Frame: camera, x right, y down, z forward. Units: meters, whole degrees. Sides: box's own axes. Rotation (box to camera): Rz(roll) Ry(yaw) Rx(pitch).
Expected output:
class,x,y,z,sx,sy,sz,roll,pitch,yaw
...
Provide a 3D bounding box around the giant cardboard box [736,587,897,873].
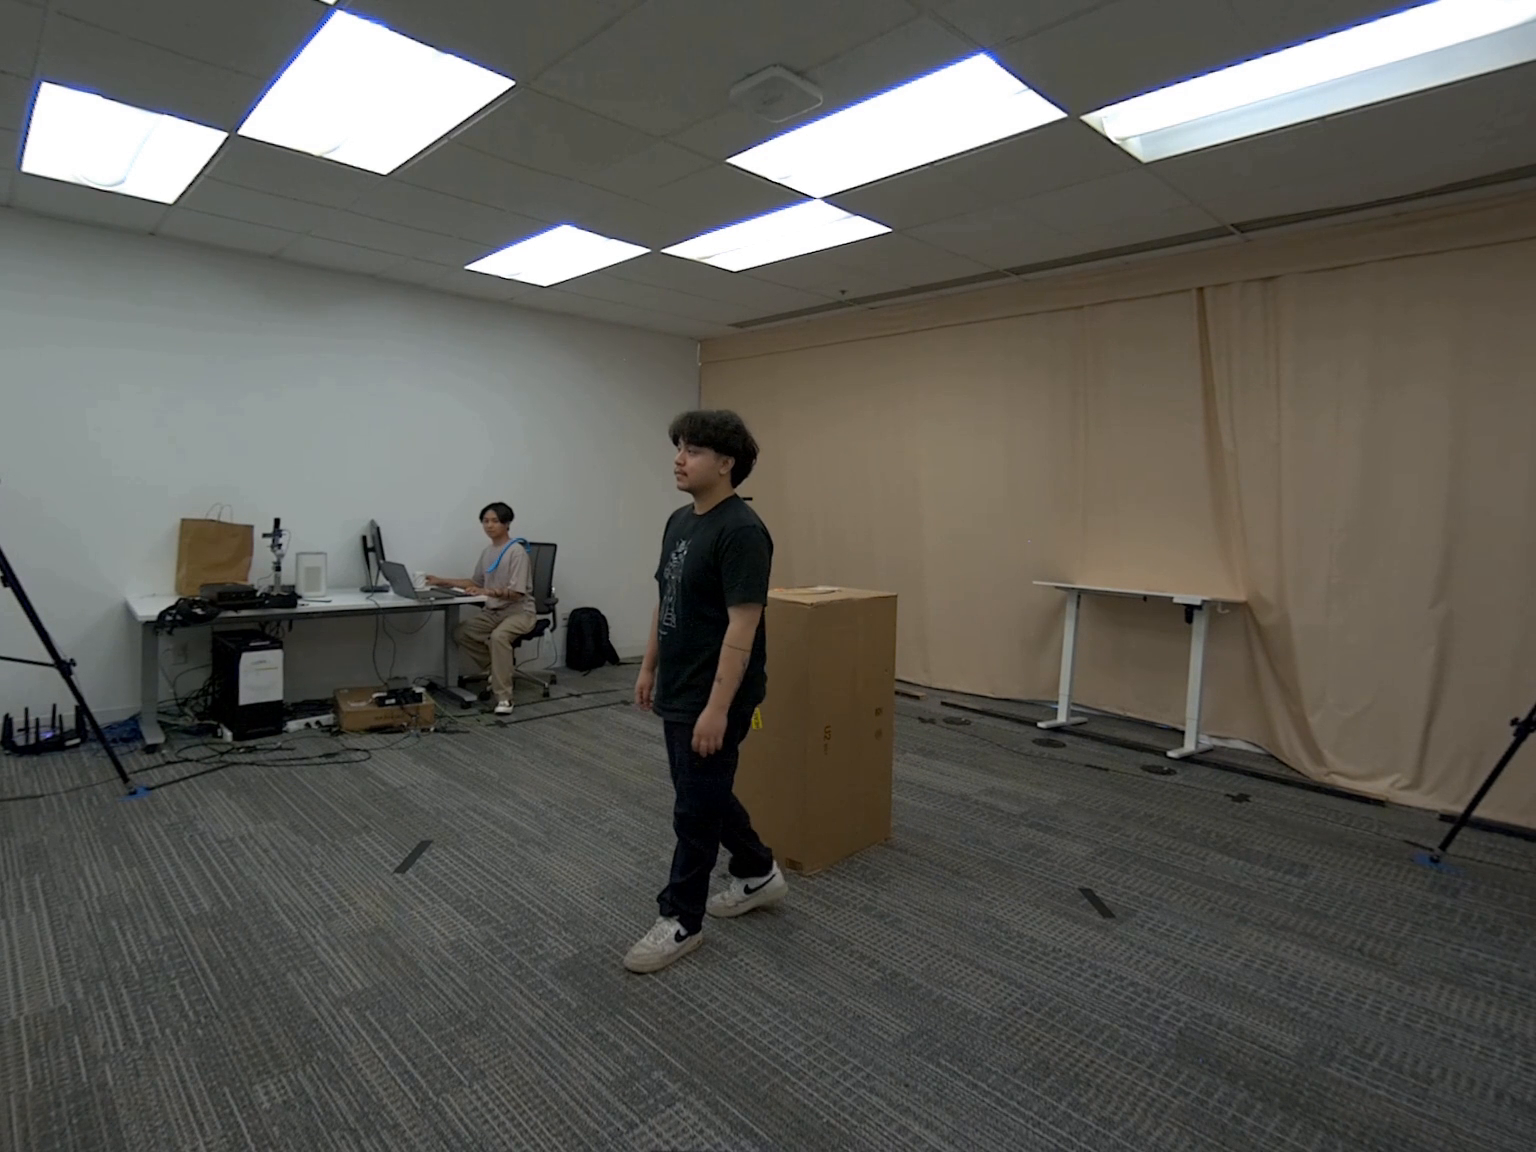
class,x,y,z,sx,sy,sz,roll,pitch,yaw
giant cardboard box,0.176,0.577,3.436,0.458,1.025,0.570,3,3,44
